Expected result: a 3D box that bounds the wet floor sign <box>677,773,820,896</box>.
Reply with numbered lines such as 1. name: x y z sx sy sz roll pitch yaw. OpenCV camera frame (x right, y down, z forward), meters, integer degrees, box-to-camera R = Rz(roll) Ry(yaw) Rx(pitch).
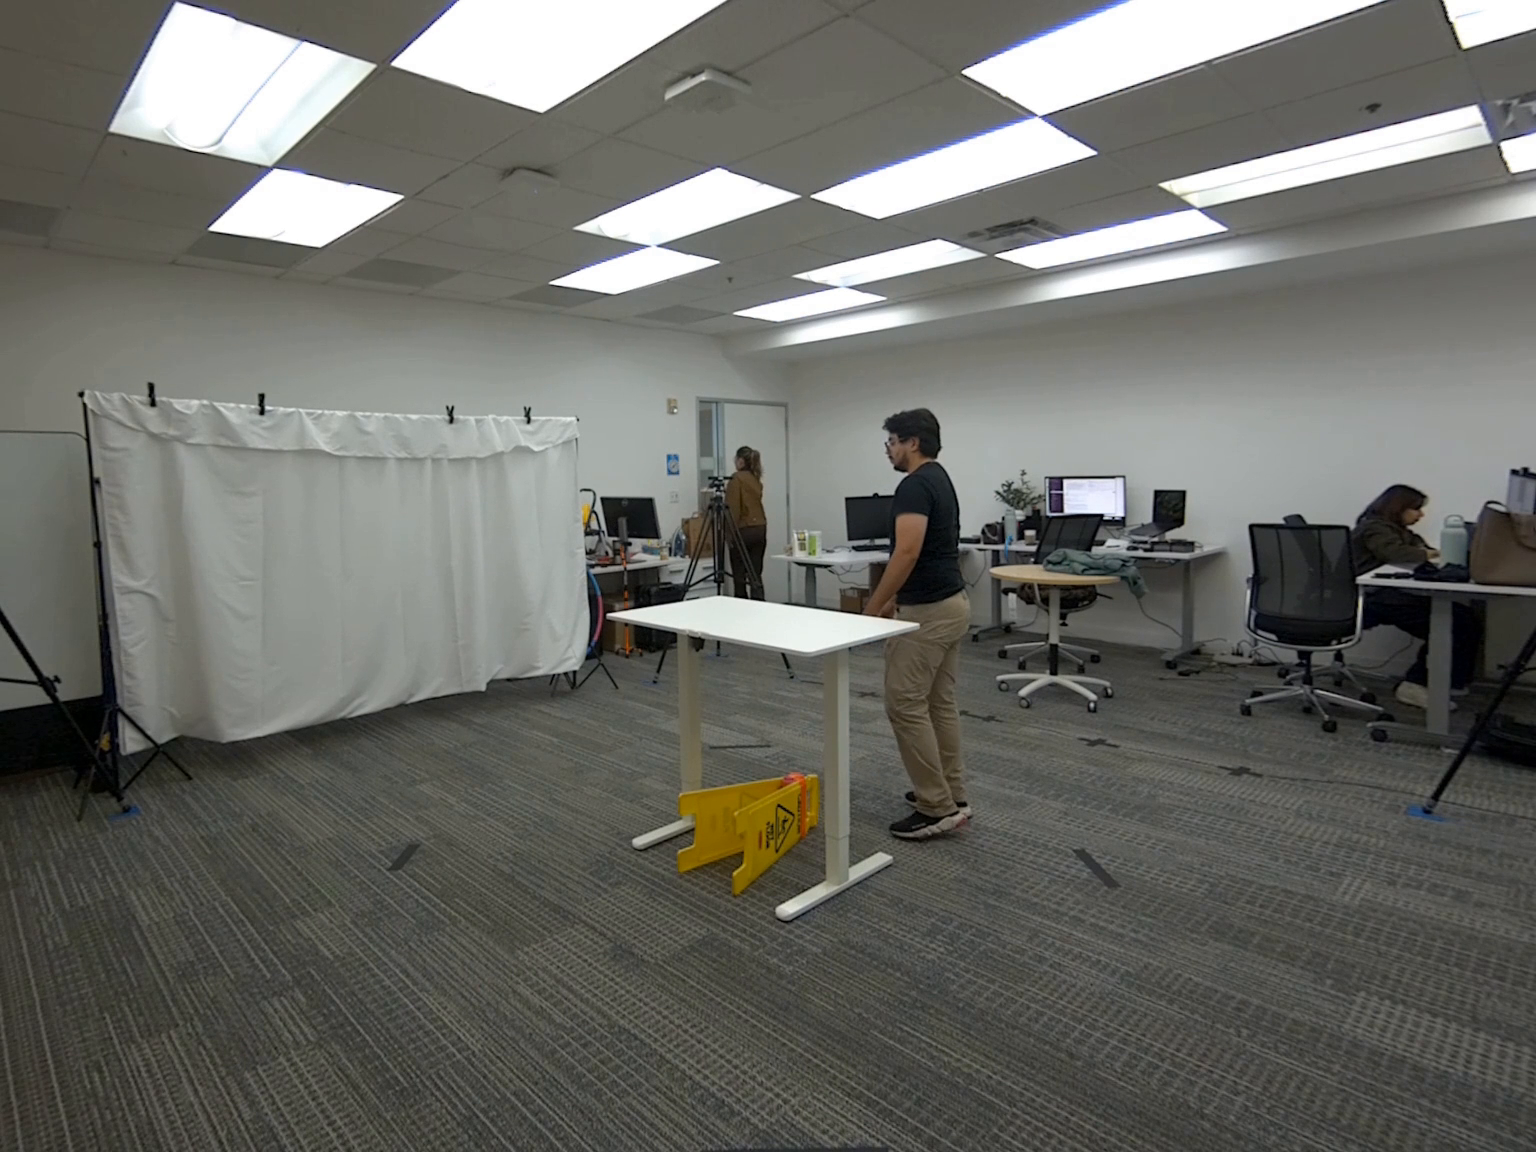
1. wet floor sign: -0.014 0.905 3.173 0.298 0.282 0.628 3 4 40
